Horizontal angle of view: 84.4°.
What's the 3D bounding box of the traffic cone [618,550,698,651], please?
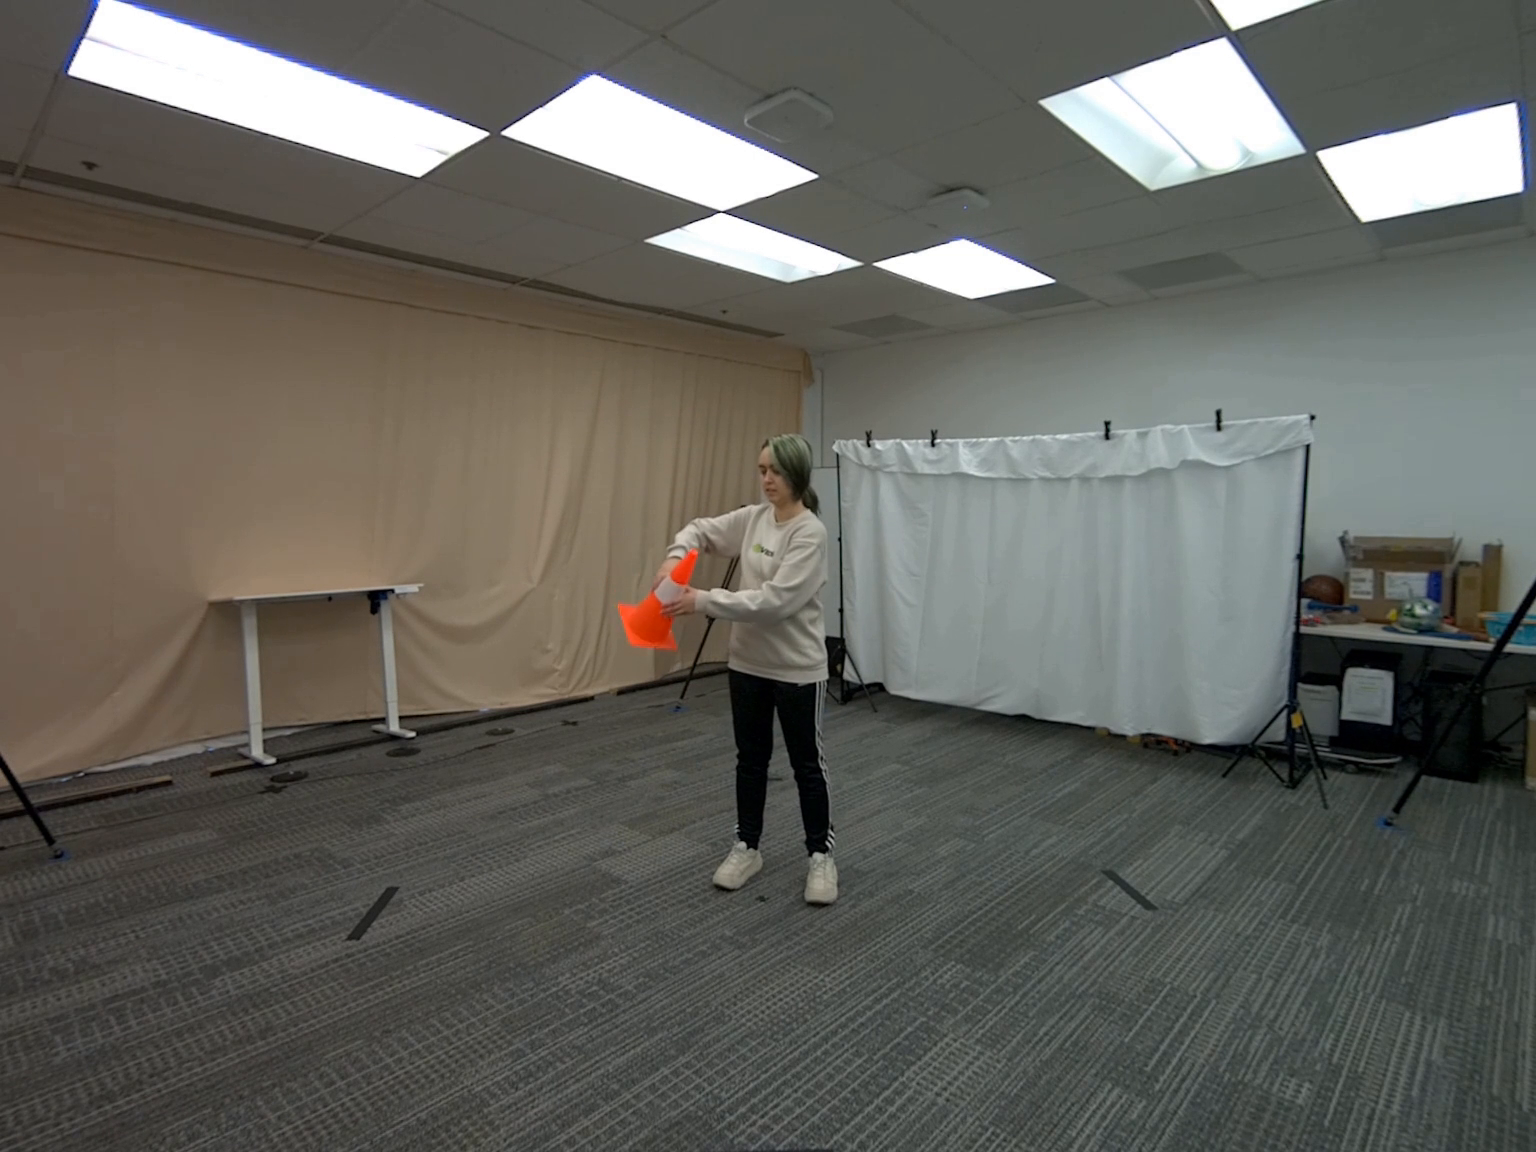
[{"bbox_3d":[-0.328,0.053,2.951,0.197,0.385,0.211,11,39,-37],"label":"traffic cone"}]
